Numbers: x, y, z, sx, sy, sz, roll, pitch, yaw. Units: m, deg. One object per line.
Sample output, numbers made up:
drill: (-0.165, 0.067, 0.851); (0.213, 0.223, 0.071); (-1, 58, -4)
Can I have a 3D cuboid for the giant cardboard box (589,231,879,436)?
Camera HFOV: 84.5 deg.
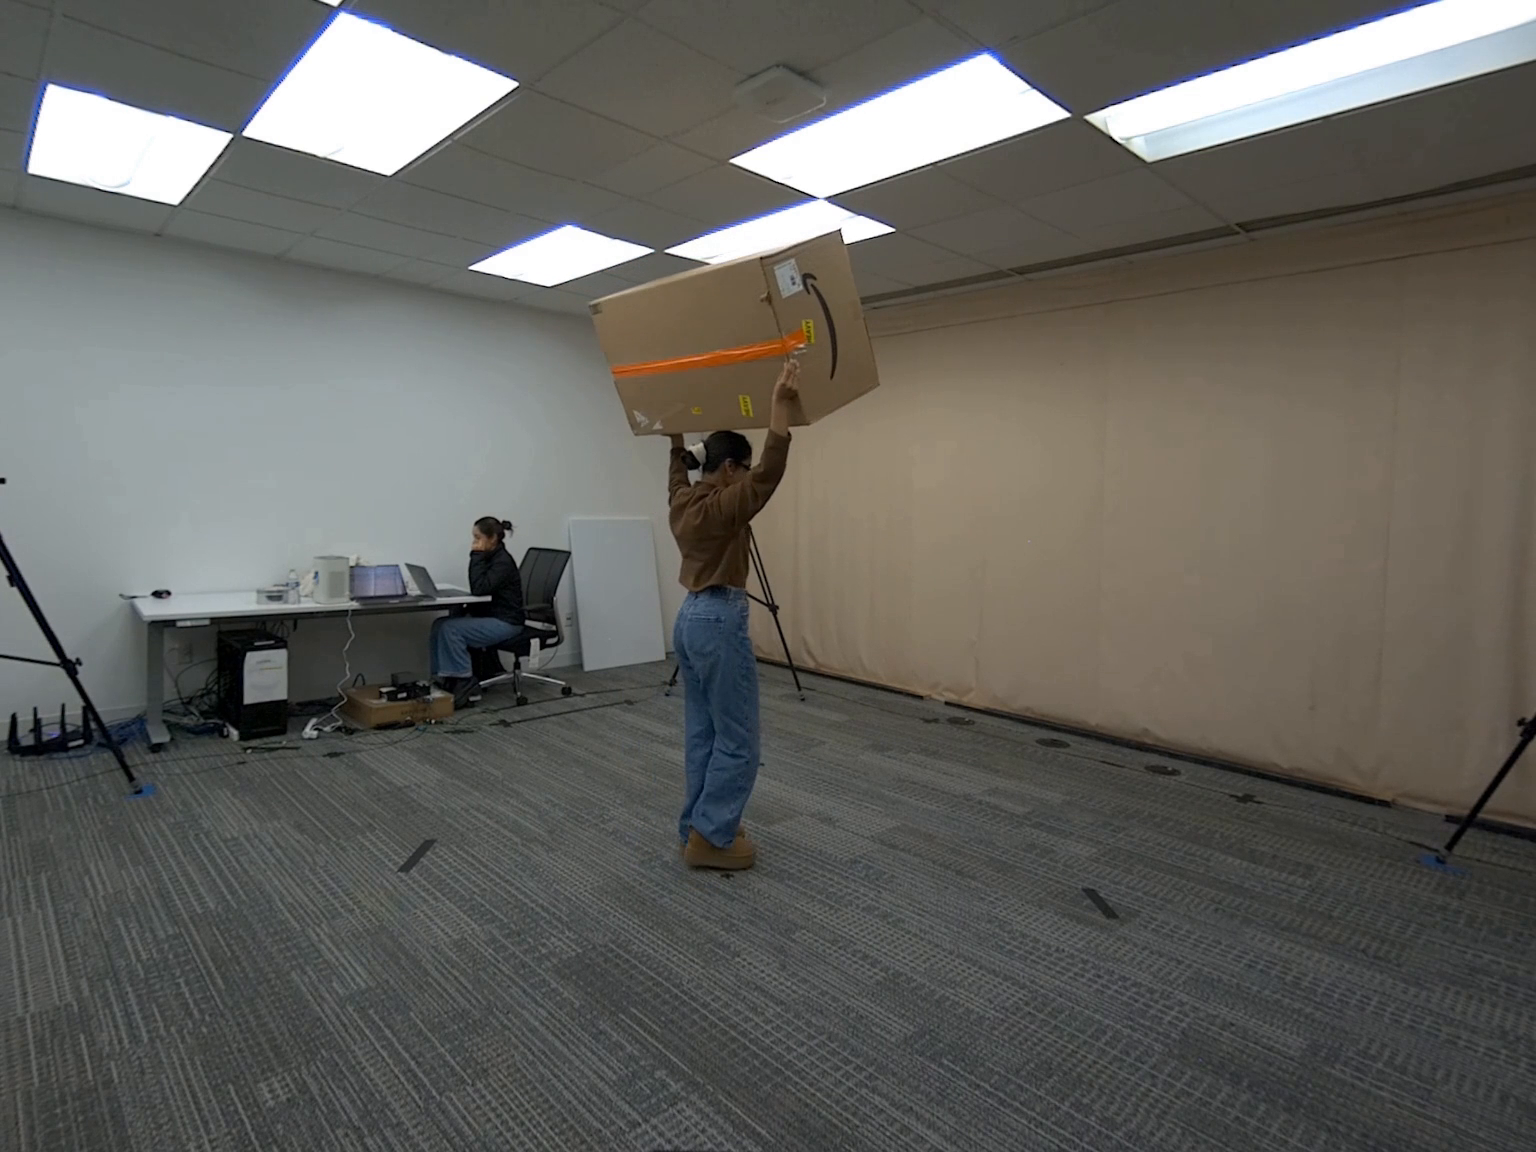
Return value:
giant cardboard box: (-0.165, -0.898, 3.251); (0.423, 0.567, 1.053); (-34, 27, -35)
